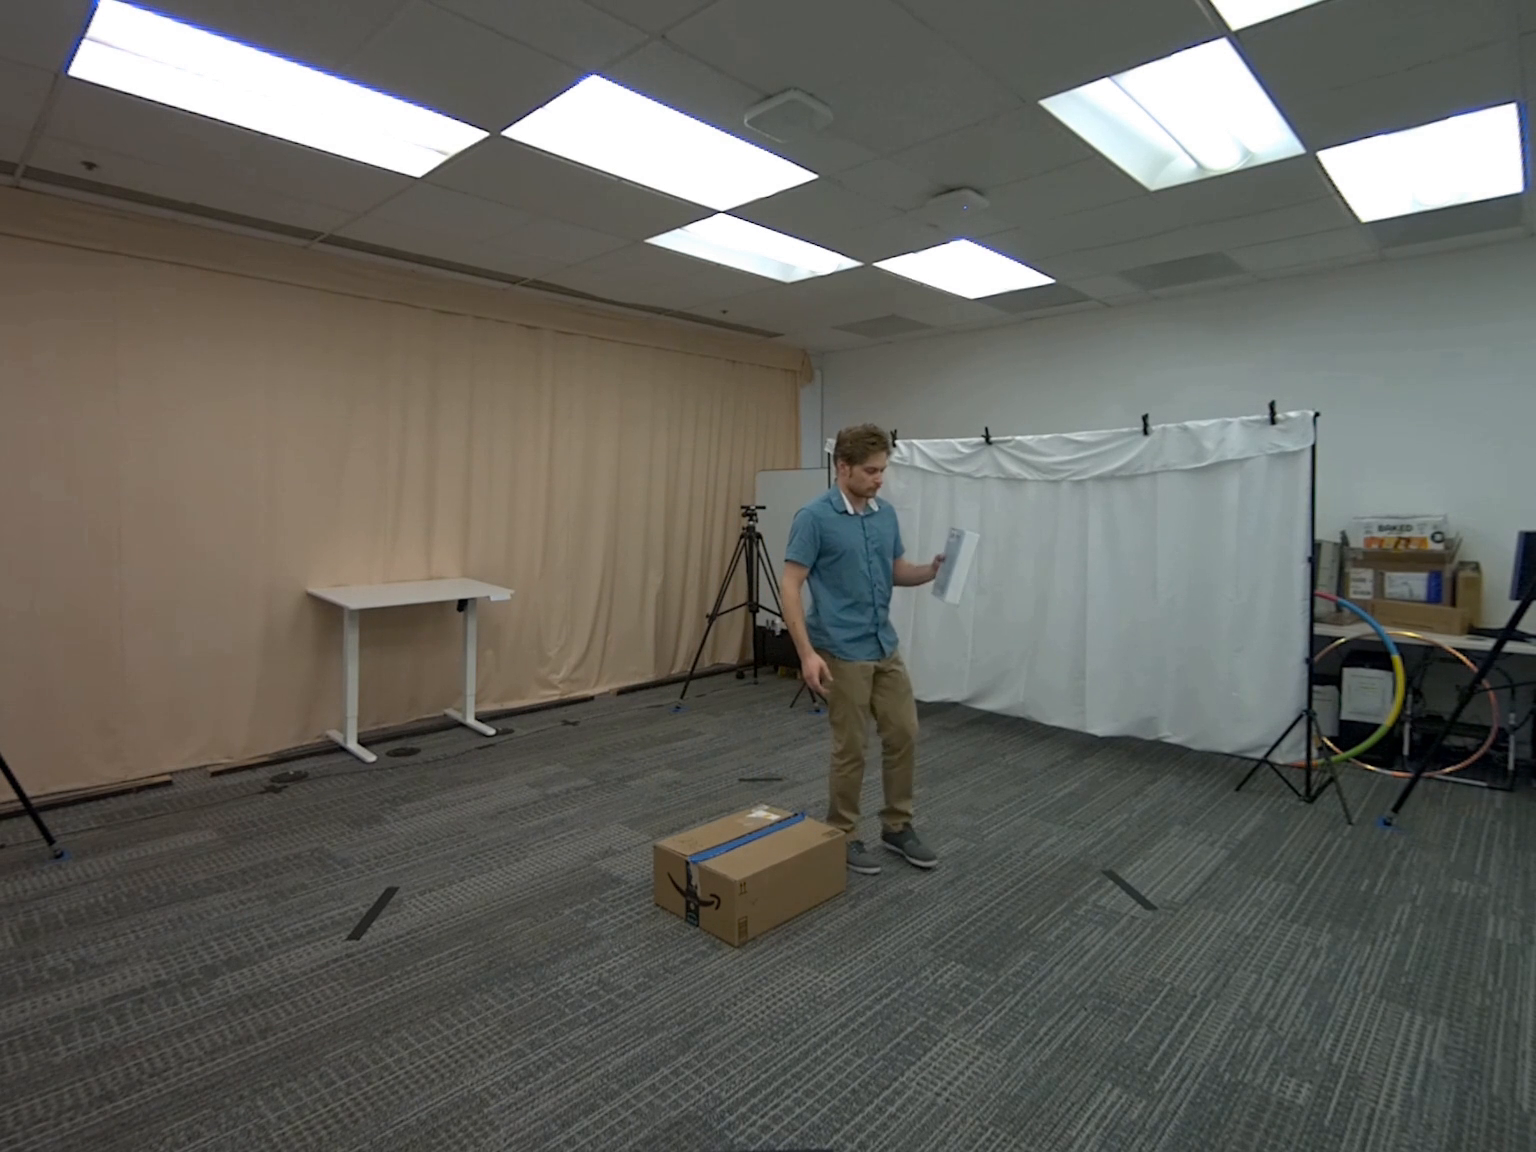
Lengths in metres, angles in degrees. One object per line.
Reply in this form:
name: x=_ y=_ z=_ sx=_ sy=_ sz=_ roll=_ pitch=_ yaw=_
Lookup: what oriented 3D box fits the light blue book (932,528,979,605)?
light blue book: x=0.670 y=-0.031 z=3.041 sx=0.059 sy=0.260 sz=0.192 roll=14 pitch=6 yaw=-5
